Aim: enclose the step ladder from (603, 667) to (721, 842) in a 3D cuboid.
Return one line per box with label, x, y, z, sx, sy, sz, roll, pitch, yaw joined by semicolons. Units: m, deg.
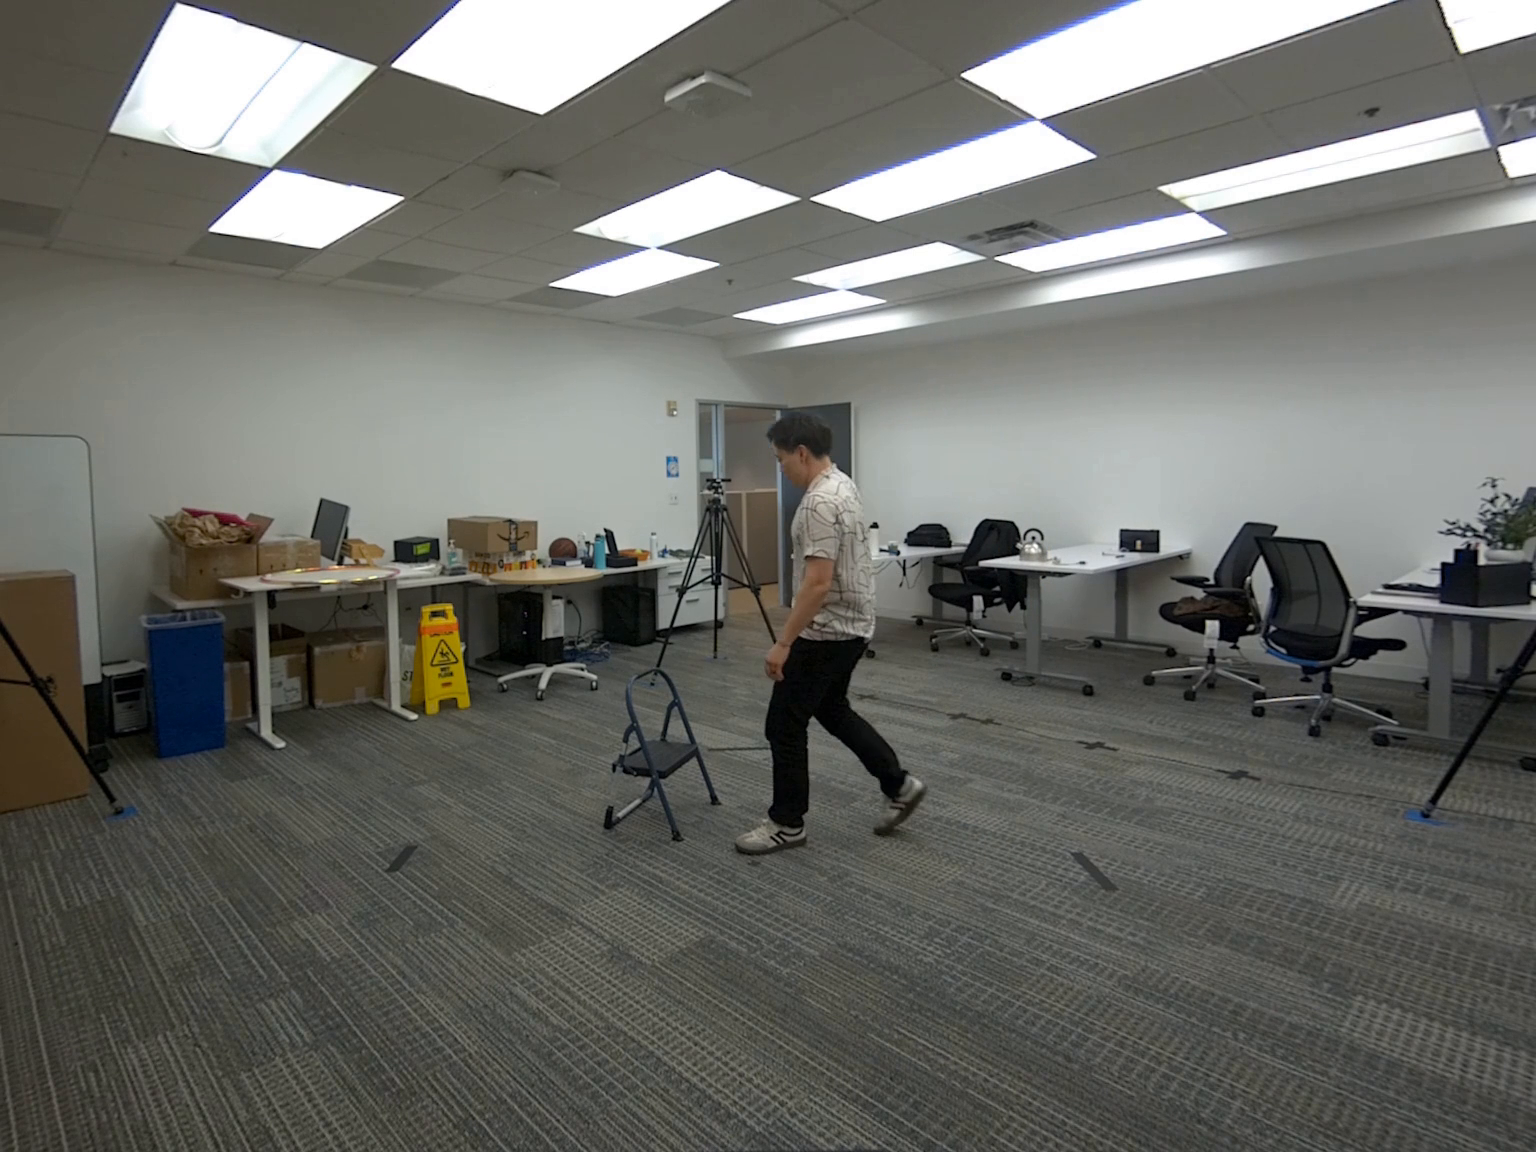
step ladder;-0.440;0.699;3.543;0.356;0.604;0.424;1;4;20
